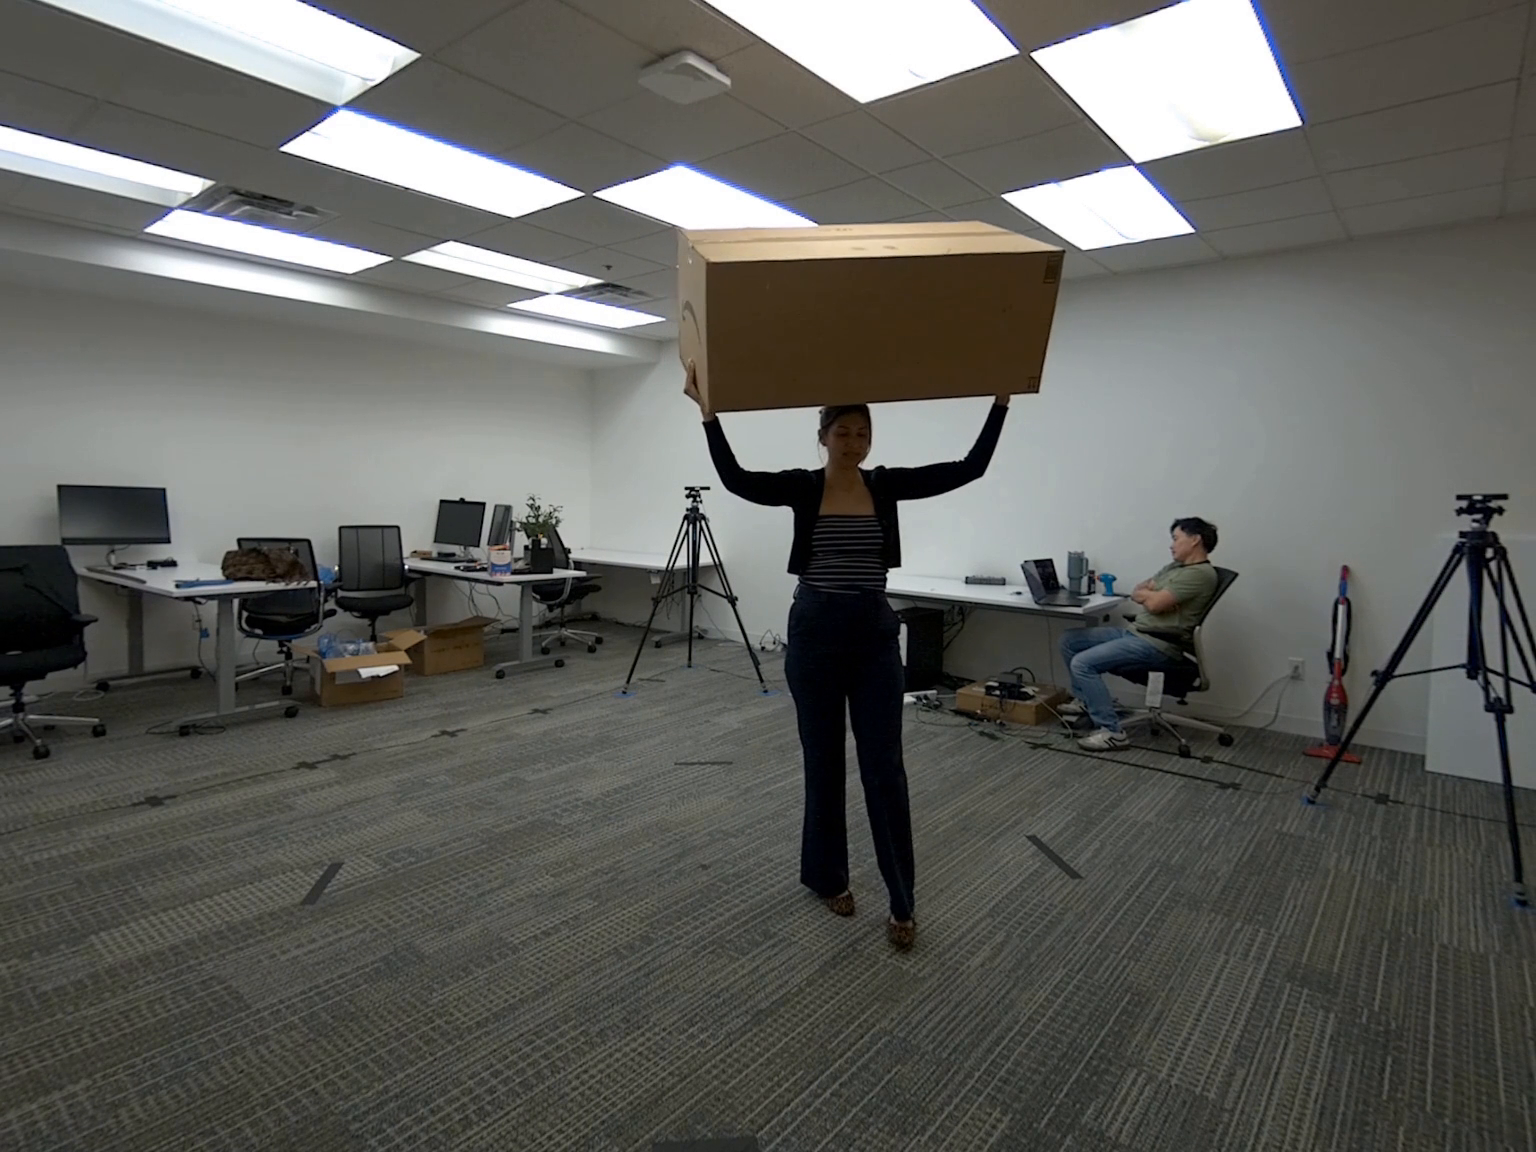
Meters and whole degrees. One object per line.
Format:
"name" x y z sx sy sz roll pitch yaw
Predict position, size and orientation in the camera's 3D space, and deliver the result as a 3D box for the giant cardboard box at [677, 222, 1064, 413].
"giant cardboard box" 0.259 -0.823 2.638 1.017 0.416 0.597 -6 30 -9
